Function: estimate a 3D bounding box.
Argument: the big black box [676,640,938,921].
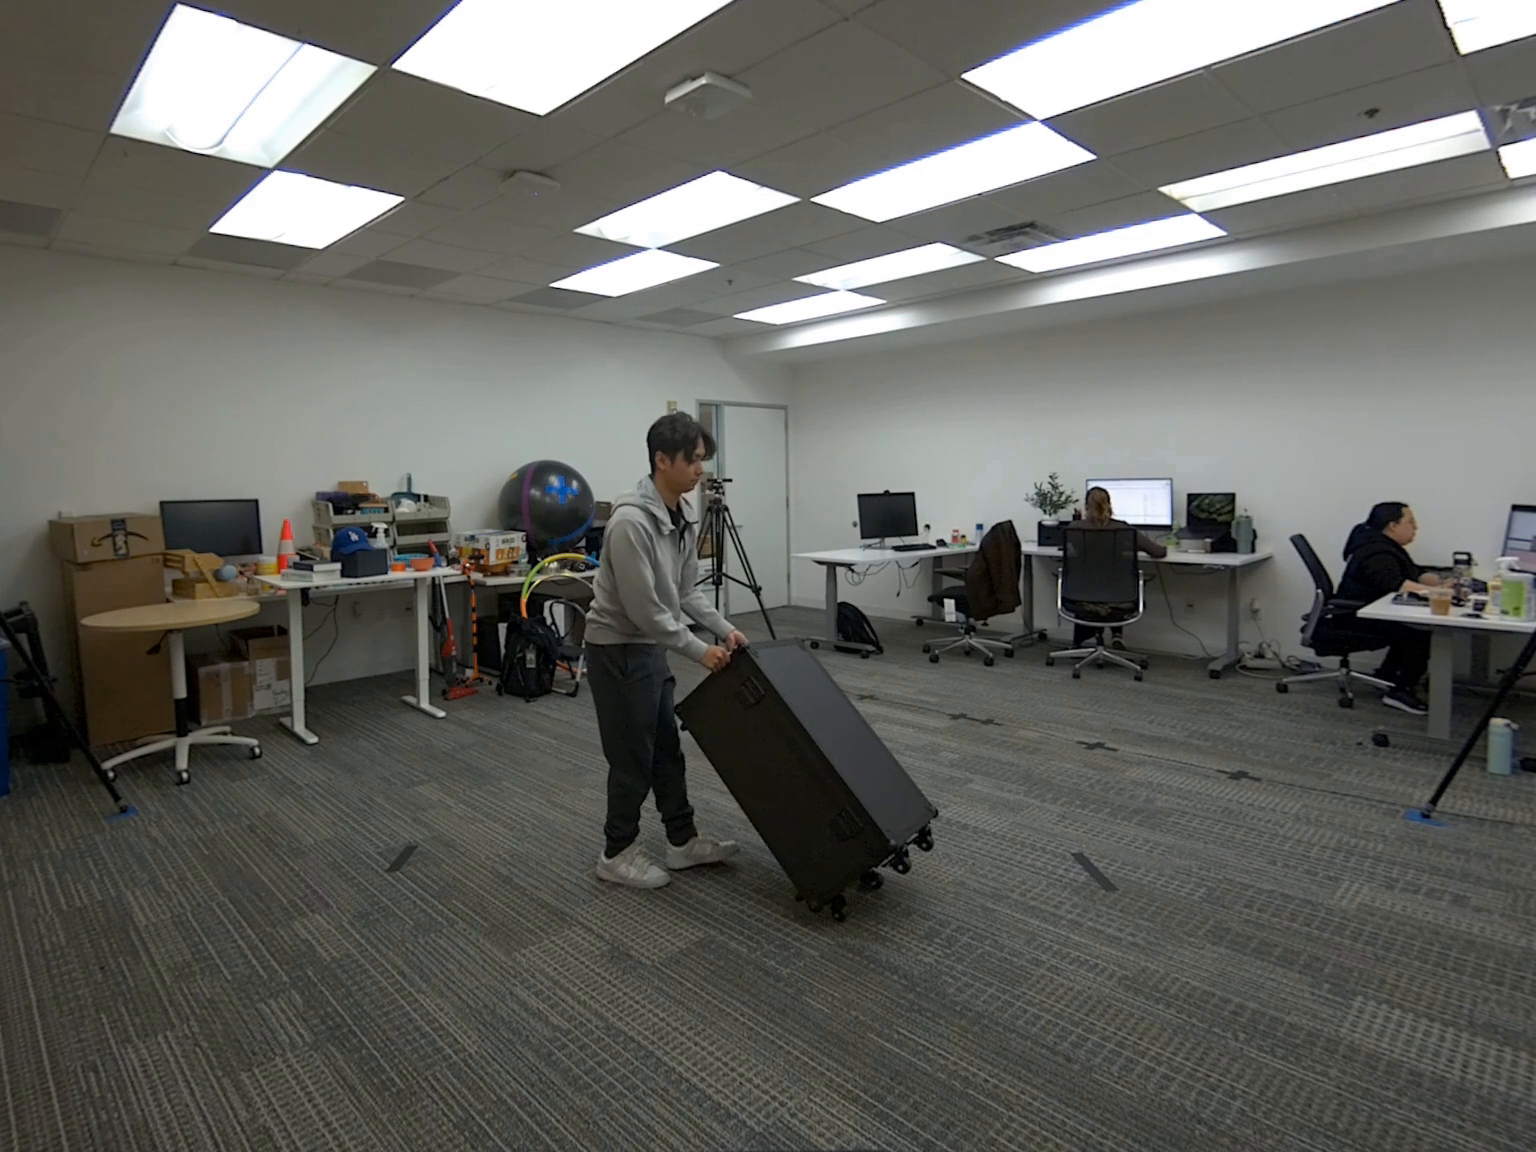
[{"bbox_3d":[0.144,0.664,2.908,0.396,0.885,0.507,-46,-22,18],"label":"big black box"}]
